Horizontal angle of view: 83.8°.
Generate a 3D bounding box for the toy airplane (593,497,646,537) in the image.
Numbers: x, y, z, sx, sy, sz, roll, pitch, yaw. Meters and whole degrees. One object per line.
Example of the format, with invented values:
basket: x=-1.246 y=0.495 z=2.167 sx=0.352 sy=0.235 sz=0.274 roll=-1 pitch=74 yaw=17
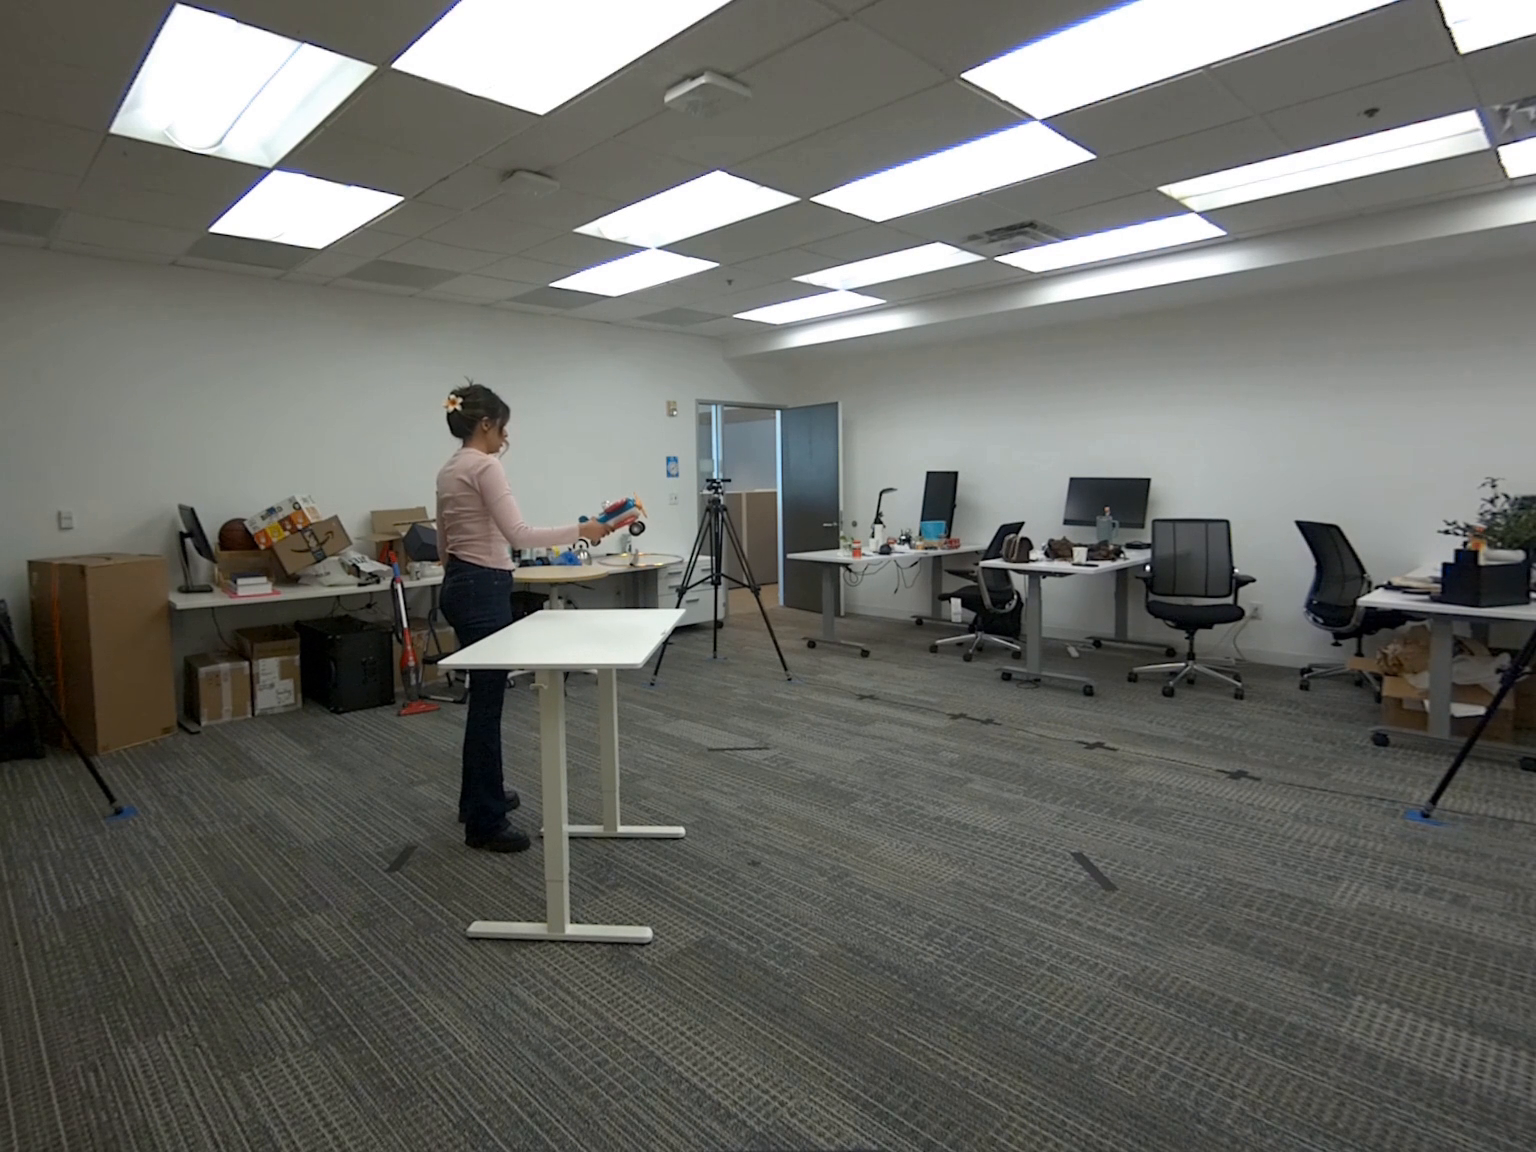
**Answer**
toy airplane: x=-0.612 y=-0.218 z=3.384 sx=0.256 sy=0.155 sz=0.256 roll=-19 pitch=9 yaw=-23
